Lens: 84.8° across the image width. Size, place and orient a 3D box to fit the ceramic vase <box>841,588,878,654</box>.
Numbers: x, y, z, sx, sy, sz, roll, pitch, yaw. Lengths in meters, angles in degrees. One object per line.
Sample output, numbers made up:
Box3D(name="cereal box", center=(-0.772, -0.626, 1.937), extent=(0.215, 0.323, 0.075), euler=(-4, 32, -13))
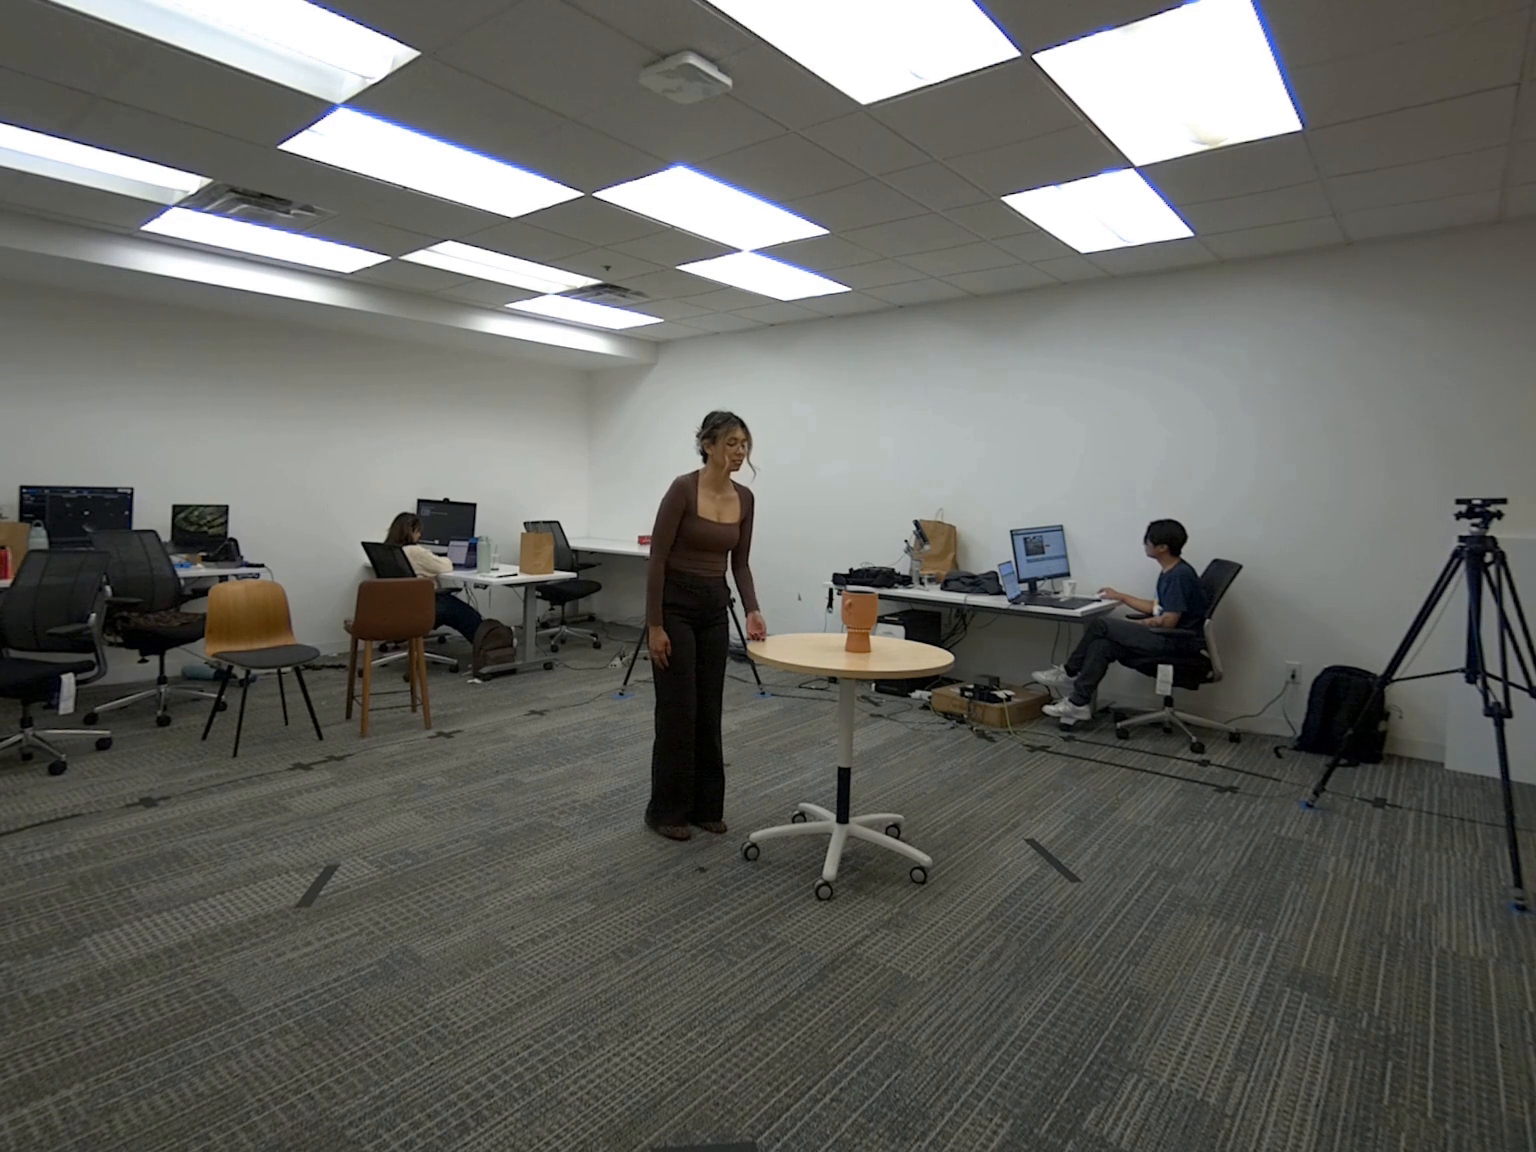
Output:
Box3D(name="ceramic vase", center=(0.338, 0.169, 3.192), extent=(0.157, 0.219, 0.137), euler=(2, 3, -13))
